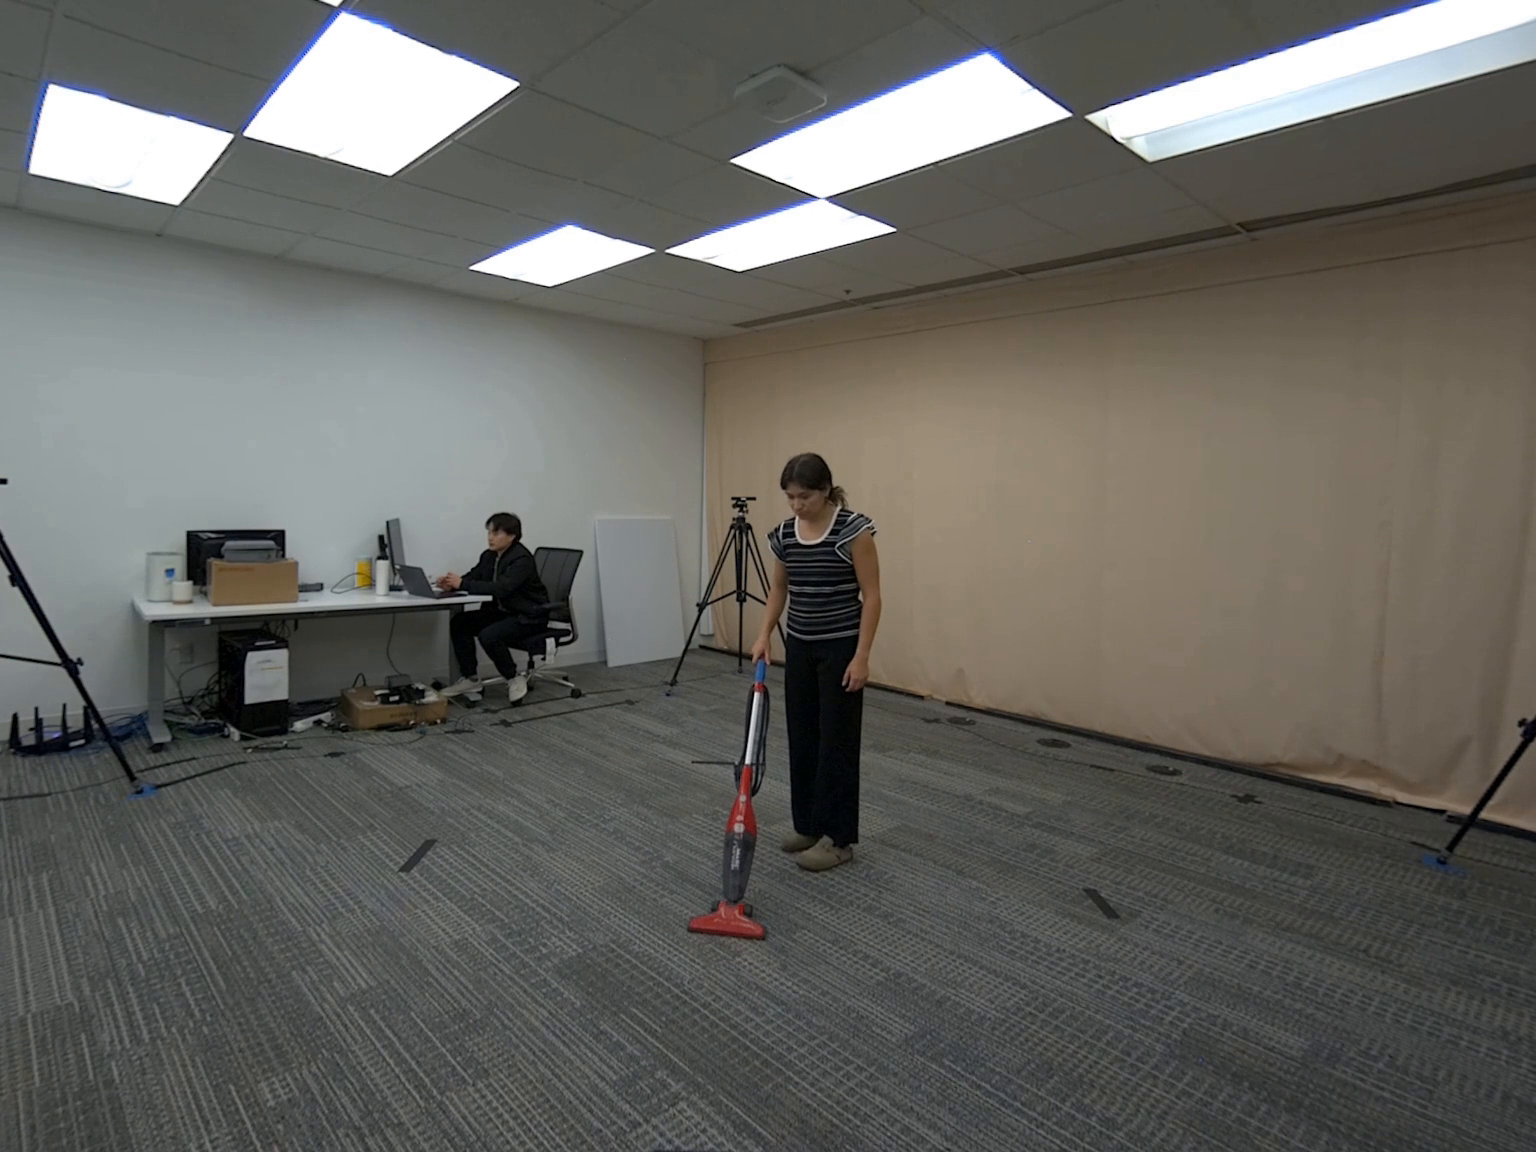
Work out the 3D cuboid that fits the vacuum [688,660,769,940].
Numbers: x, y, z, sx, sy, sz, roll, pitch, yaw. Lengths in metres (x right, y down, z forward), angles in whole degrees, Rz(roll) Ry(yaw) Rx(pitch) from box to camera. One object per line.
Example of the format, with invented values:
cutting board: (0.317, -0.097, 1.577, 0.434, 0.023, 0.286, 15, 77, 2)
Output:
vacuum: (-0.074, 0.712, 3.056, 0.255, 1.068, 0.140, -2, -39, 12)
